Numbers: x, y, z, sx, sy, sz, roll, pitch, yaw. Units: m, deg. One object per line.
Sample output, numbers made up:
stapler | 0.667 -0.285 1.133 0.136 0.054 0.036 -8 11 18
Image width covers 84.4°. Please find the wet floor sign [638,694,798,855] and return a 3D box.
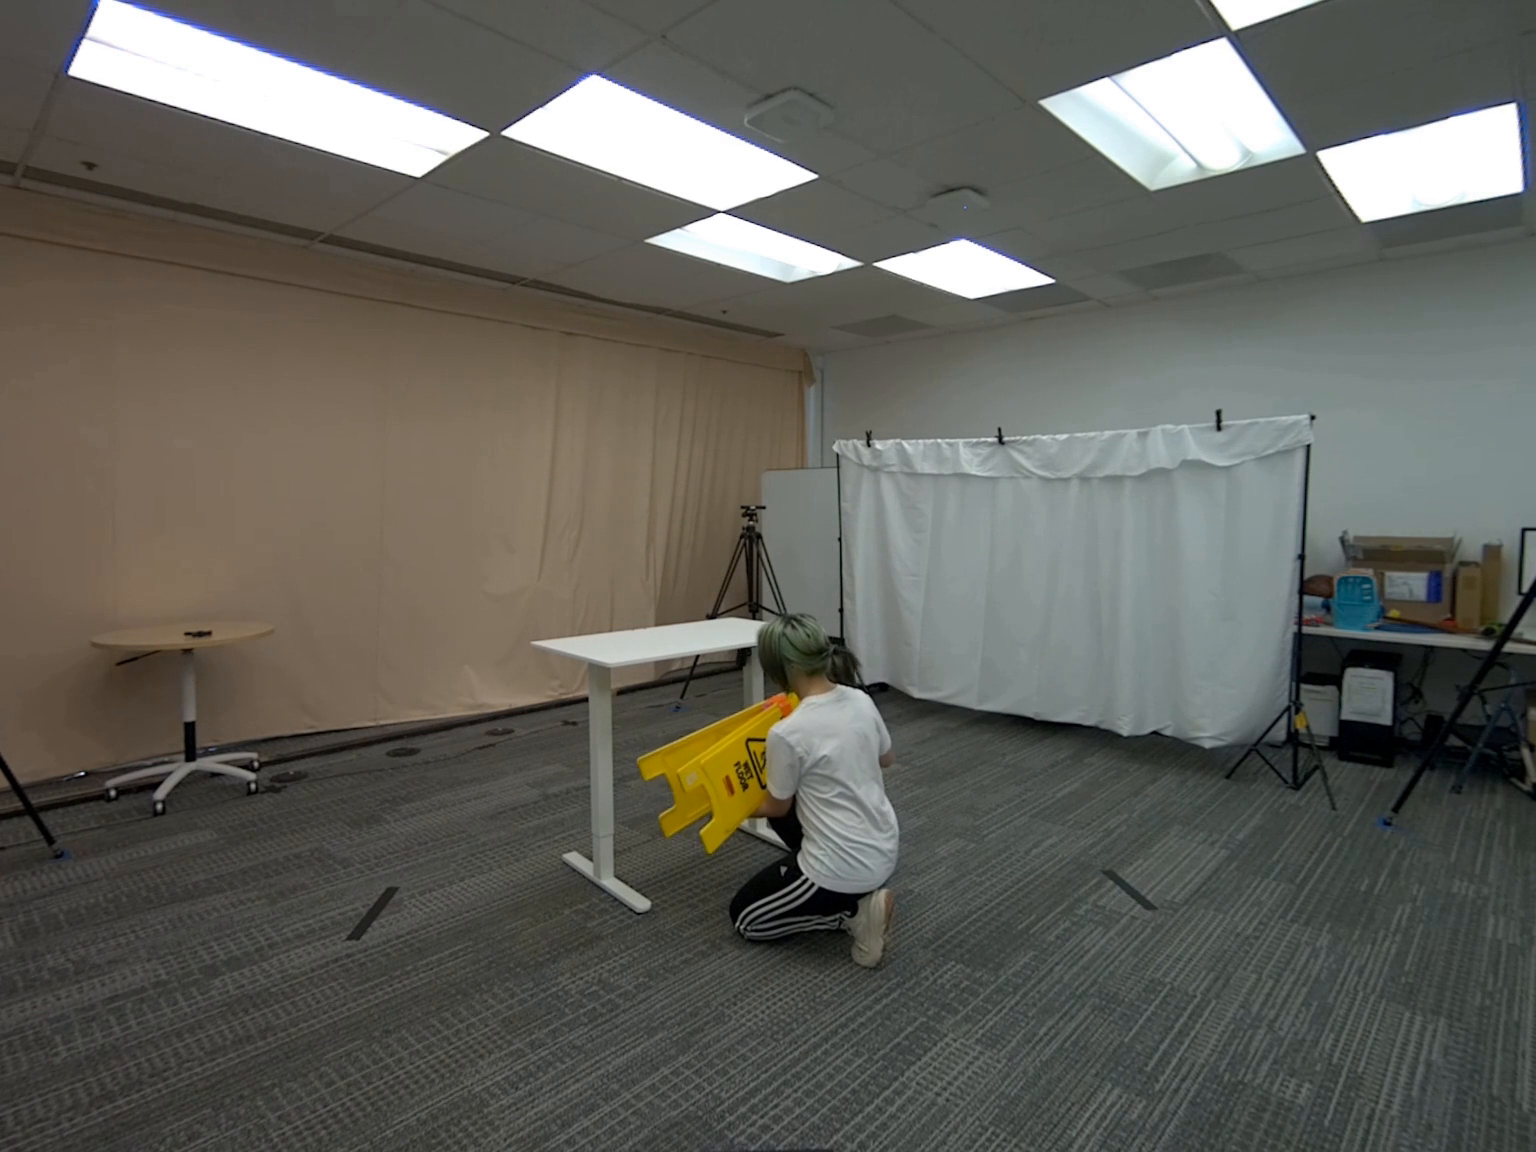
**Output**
wet floor sign | -0.063 0.596 2.771 0.633 0.280 0.298 -27 11 -35
